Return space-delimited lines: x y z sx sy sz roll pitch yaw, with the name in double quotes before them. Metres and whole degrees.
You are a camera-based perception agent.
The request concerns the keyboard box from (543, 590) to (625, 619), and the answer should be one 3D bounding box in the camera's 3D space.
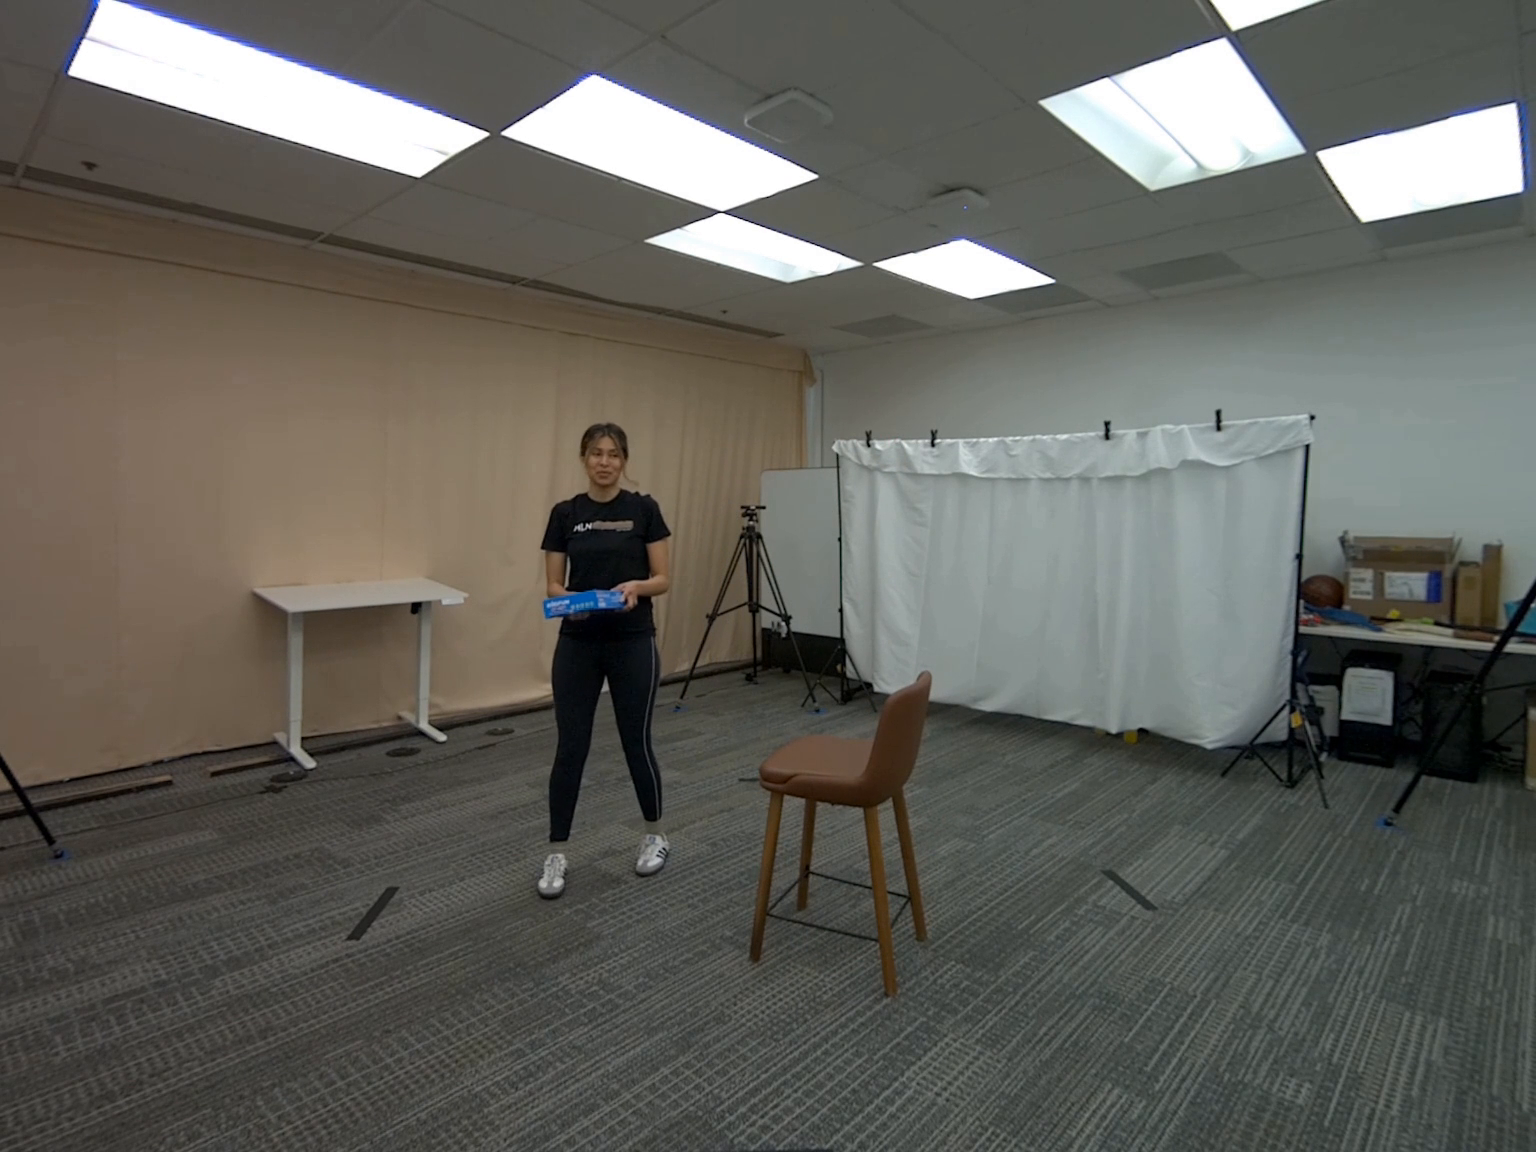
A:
"keyboard box" -0.584 0.095 2.781 0.177 0.059 0.433 -10 -2 4
